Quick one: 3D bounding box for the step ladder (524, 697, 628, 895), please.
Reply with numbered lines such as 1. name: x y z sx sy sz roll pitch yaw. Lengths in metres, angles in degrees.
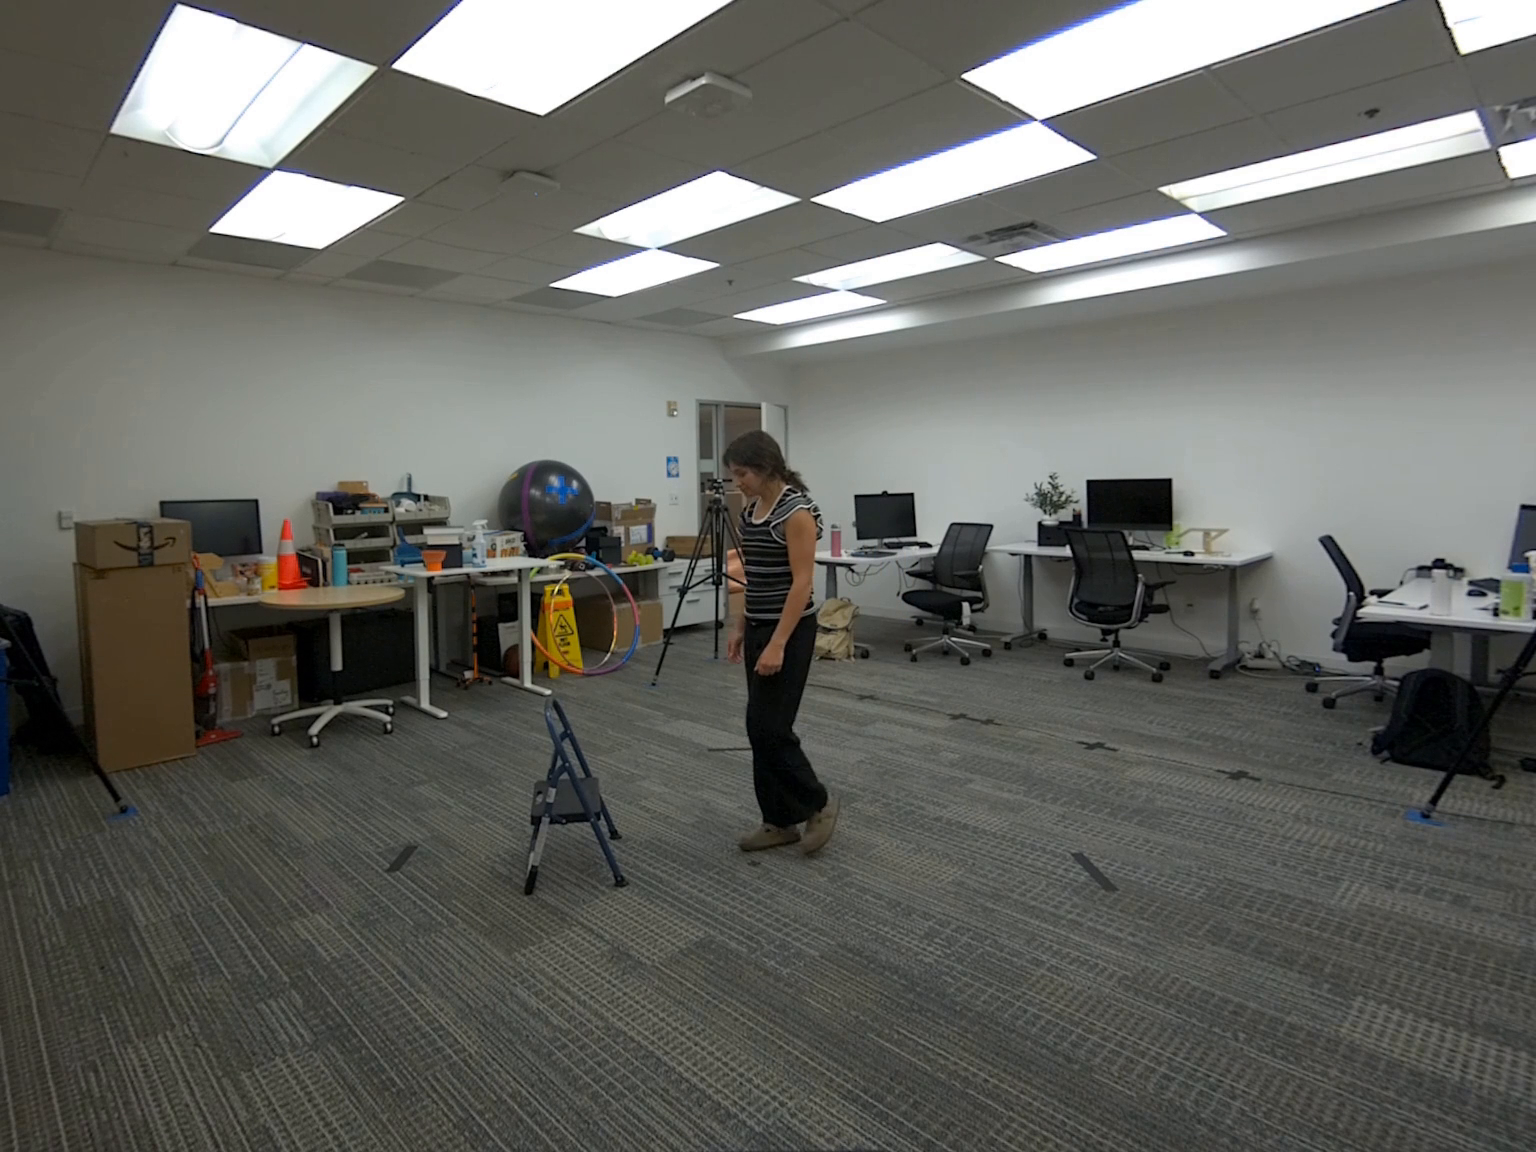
1. step ladder: -0.706 0.758 3.108 0.346 0.604 0.437 -1 4 -12
